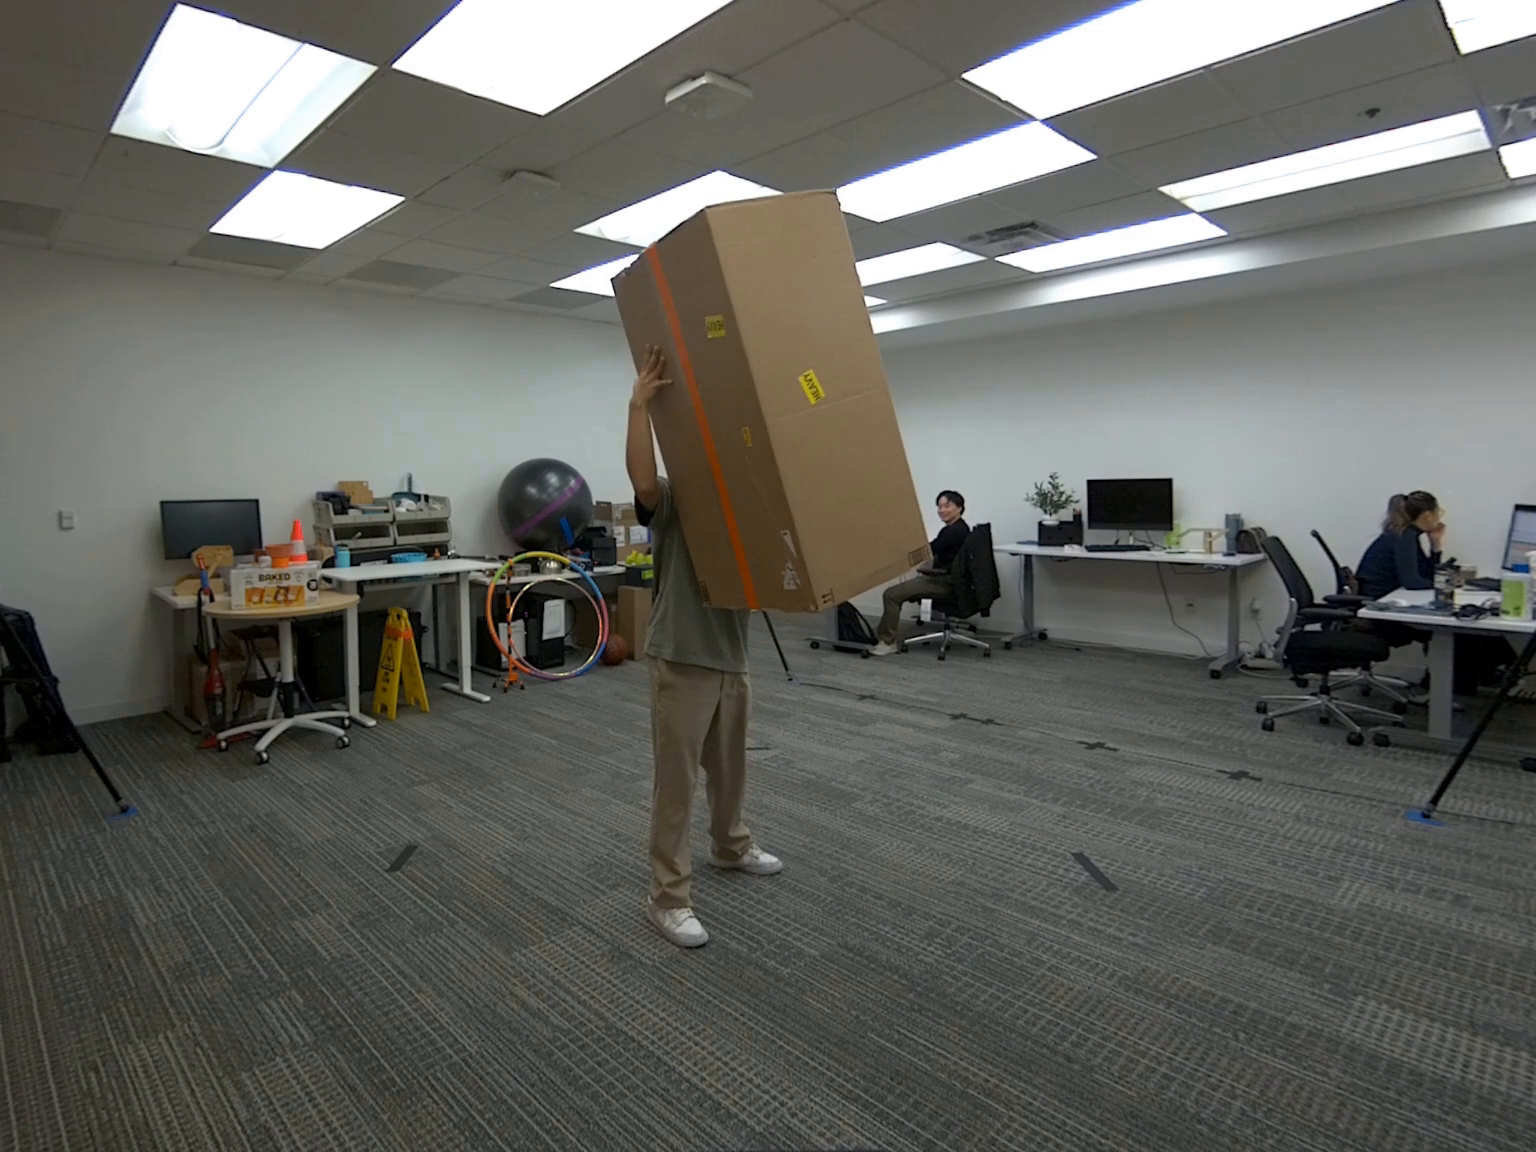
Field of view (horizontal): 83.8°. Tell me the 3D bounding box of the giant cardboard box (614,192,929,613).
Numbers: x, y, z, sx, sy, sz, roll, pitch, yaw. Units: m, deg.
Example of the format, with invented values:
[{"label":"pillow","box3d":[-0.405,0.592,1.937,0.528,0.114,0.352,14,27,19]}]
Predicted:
[{"label":"giant cardboard box","box3d":[-0.004,-0.447,2.420,0.419,1.017,0.591,-20,9,-31]}]
